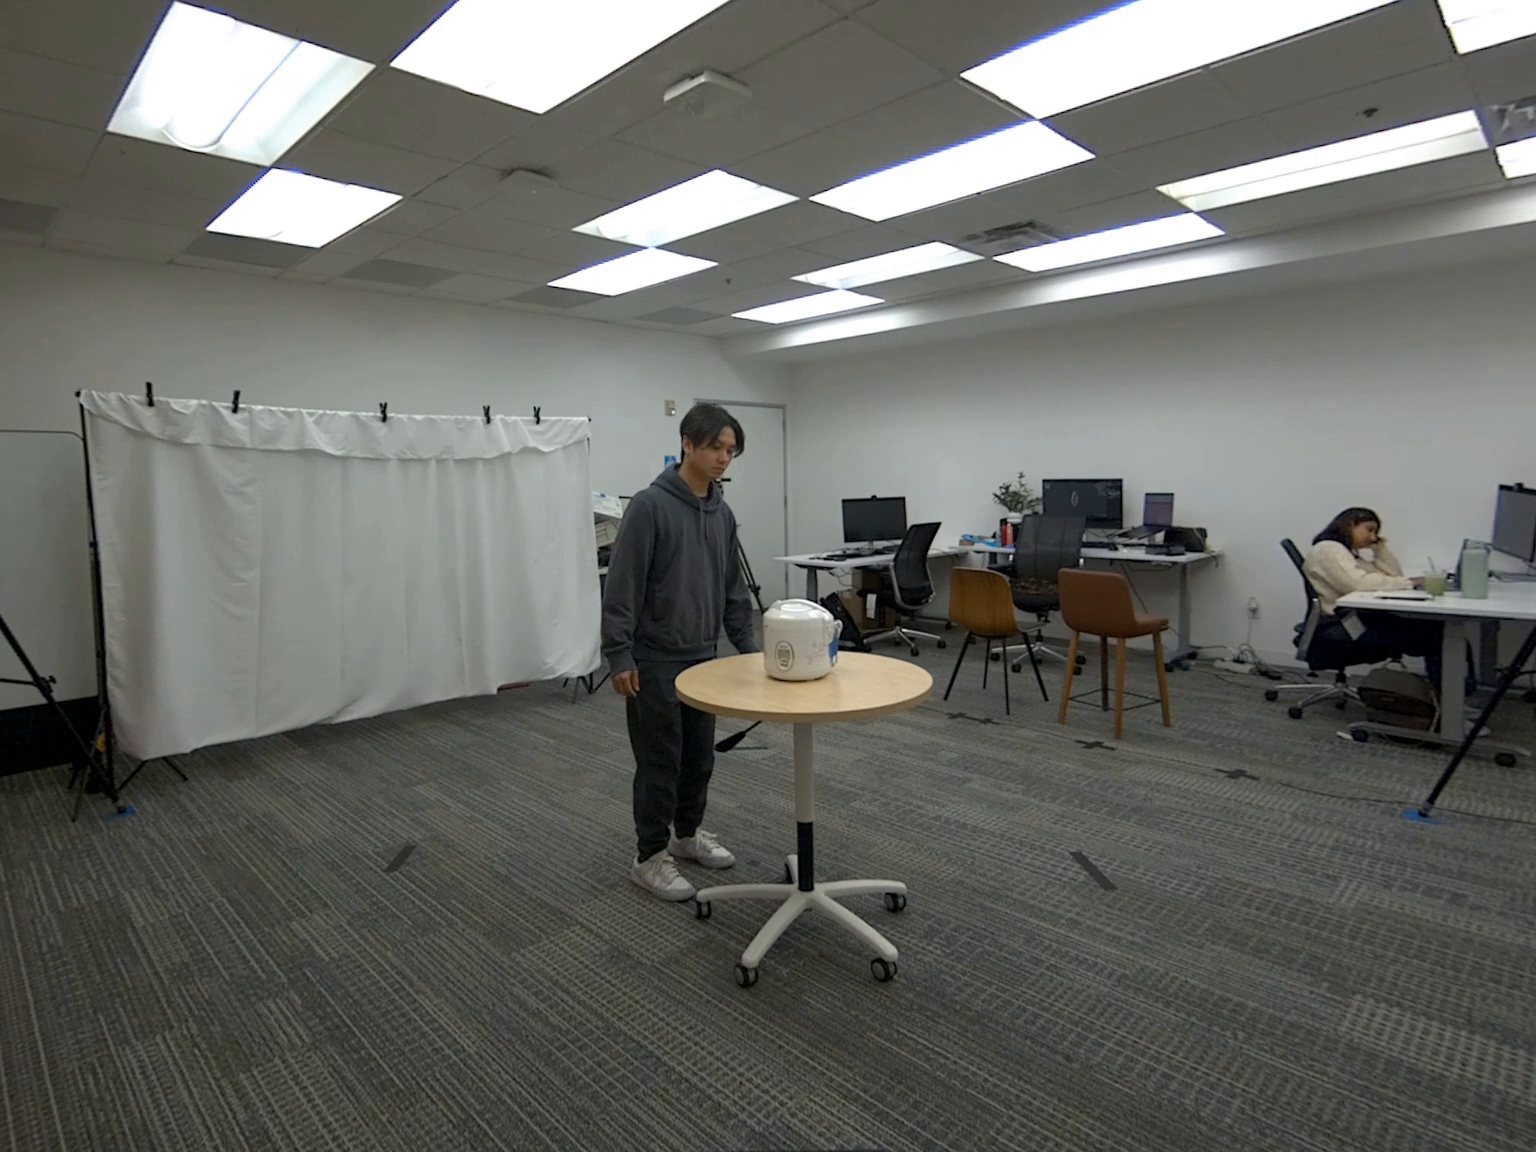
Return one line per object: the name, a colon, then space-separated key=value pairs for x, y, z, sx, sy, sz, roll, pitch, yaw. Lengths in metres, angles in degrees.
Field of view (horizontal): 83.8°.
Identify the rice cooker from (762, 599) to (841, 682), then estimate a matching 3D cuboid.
rice cooker: x=0.091 y=0.186 z=2.585 sx=0.226 sy=0.232 sz=0.213 roll=1 pitch=5 yaw=26
